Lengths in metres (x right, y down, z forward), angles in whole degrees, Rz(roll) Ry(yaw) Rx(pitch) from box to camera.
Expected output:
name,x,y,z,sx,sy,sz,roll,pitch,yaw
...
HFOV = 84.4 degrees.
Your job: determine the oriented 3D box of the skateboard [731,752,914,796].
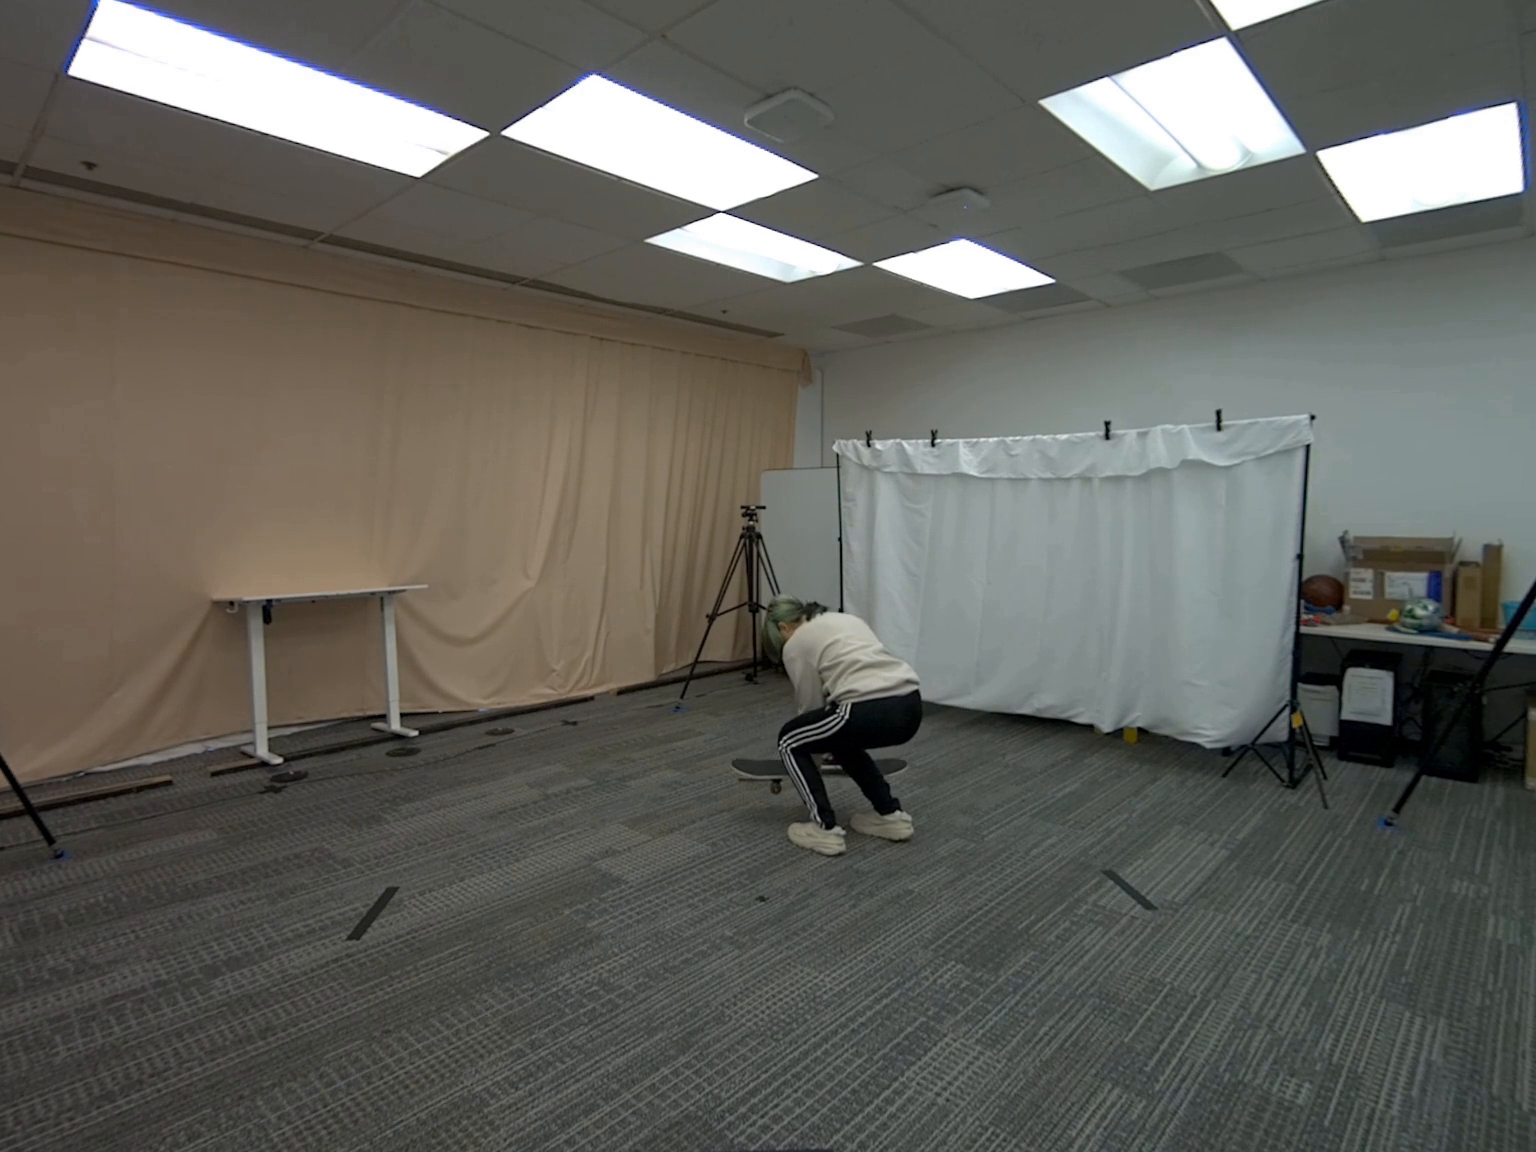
name,x,y,z,sx,sy,sz,roll,pitch,yaw
skateboard,0.229,0.877,3.767,0.785,0.110,0.194,-1,8,0
